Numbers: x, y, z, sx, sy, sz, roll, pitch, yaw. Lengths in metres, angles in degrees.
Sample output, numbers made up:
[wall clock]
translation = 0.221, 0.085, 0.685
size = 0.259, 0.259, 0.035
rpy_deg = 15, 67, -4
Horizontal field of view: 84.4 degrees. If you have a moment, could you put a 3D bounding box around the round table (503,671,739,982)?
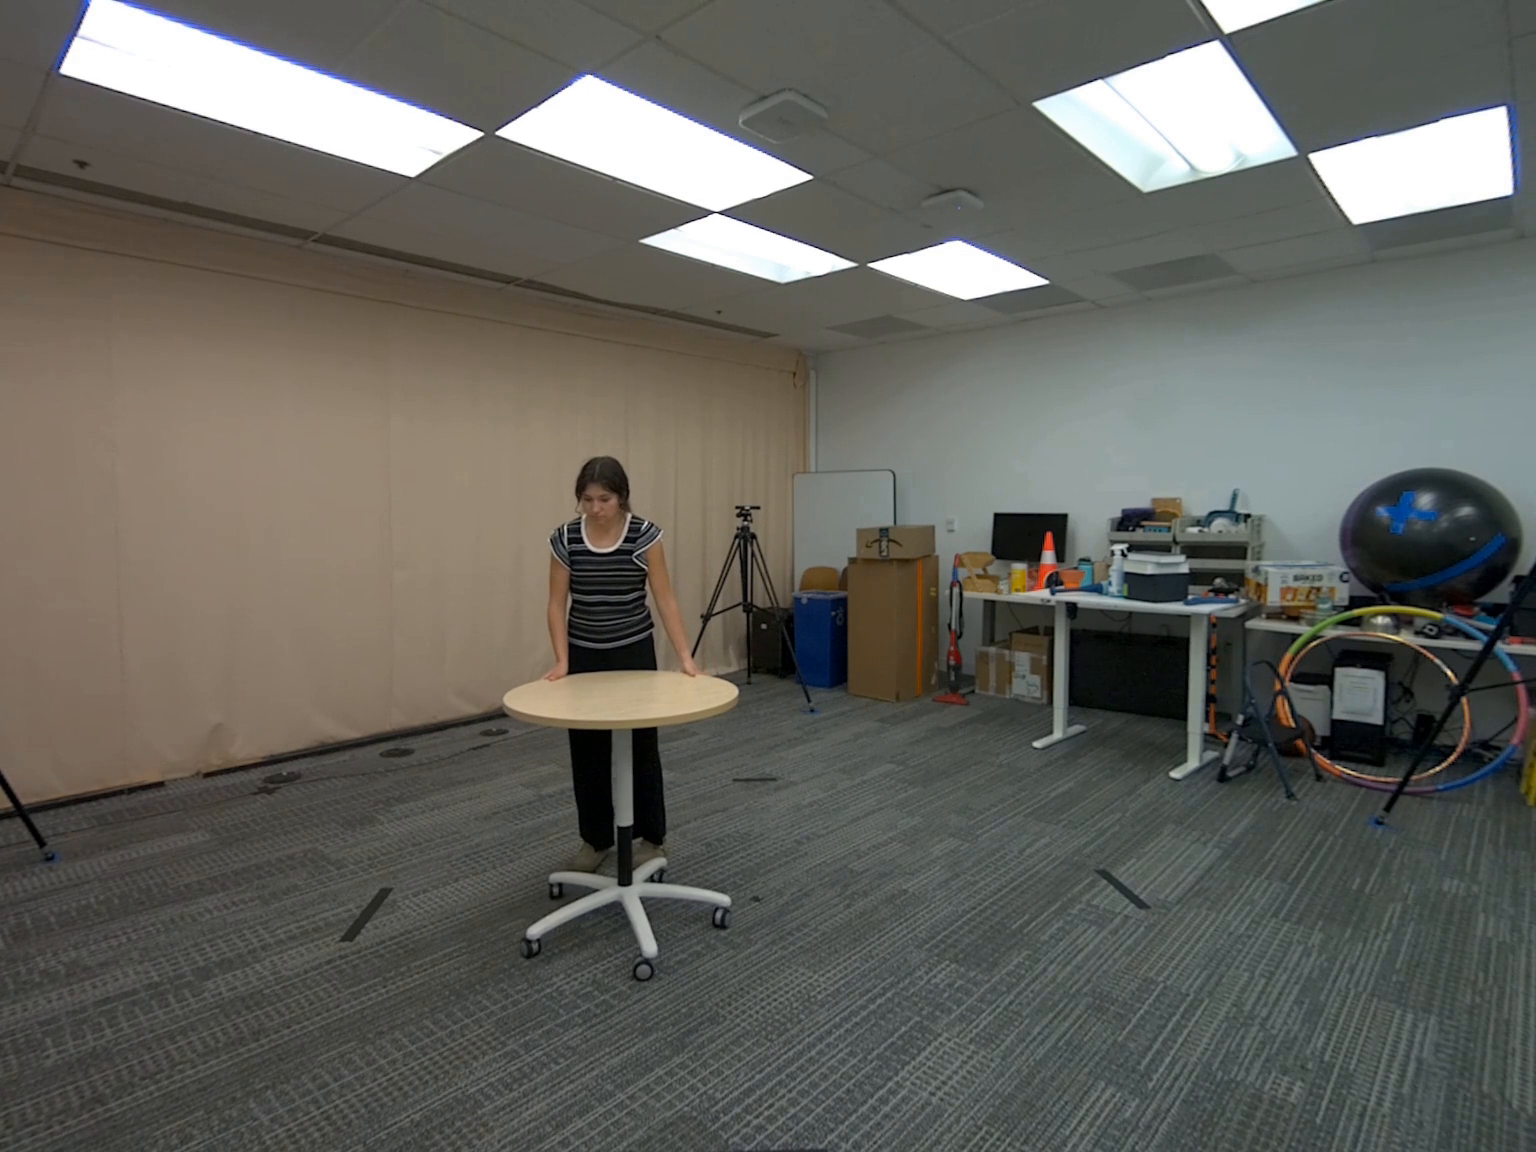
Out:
[round table]
translation = -0.465, 0.776, 2.778
size = 0.763, 0.792, 0.766
rpy_deg = -1, 3, -2
